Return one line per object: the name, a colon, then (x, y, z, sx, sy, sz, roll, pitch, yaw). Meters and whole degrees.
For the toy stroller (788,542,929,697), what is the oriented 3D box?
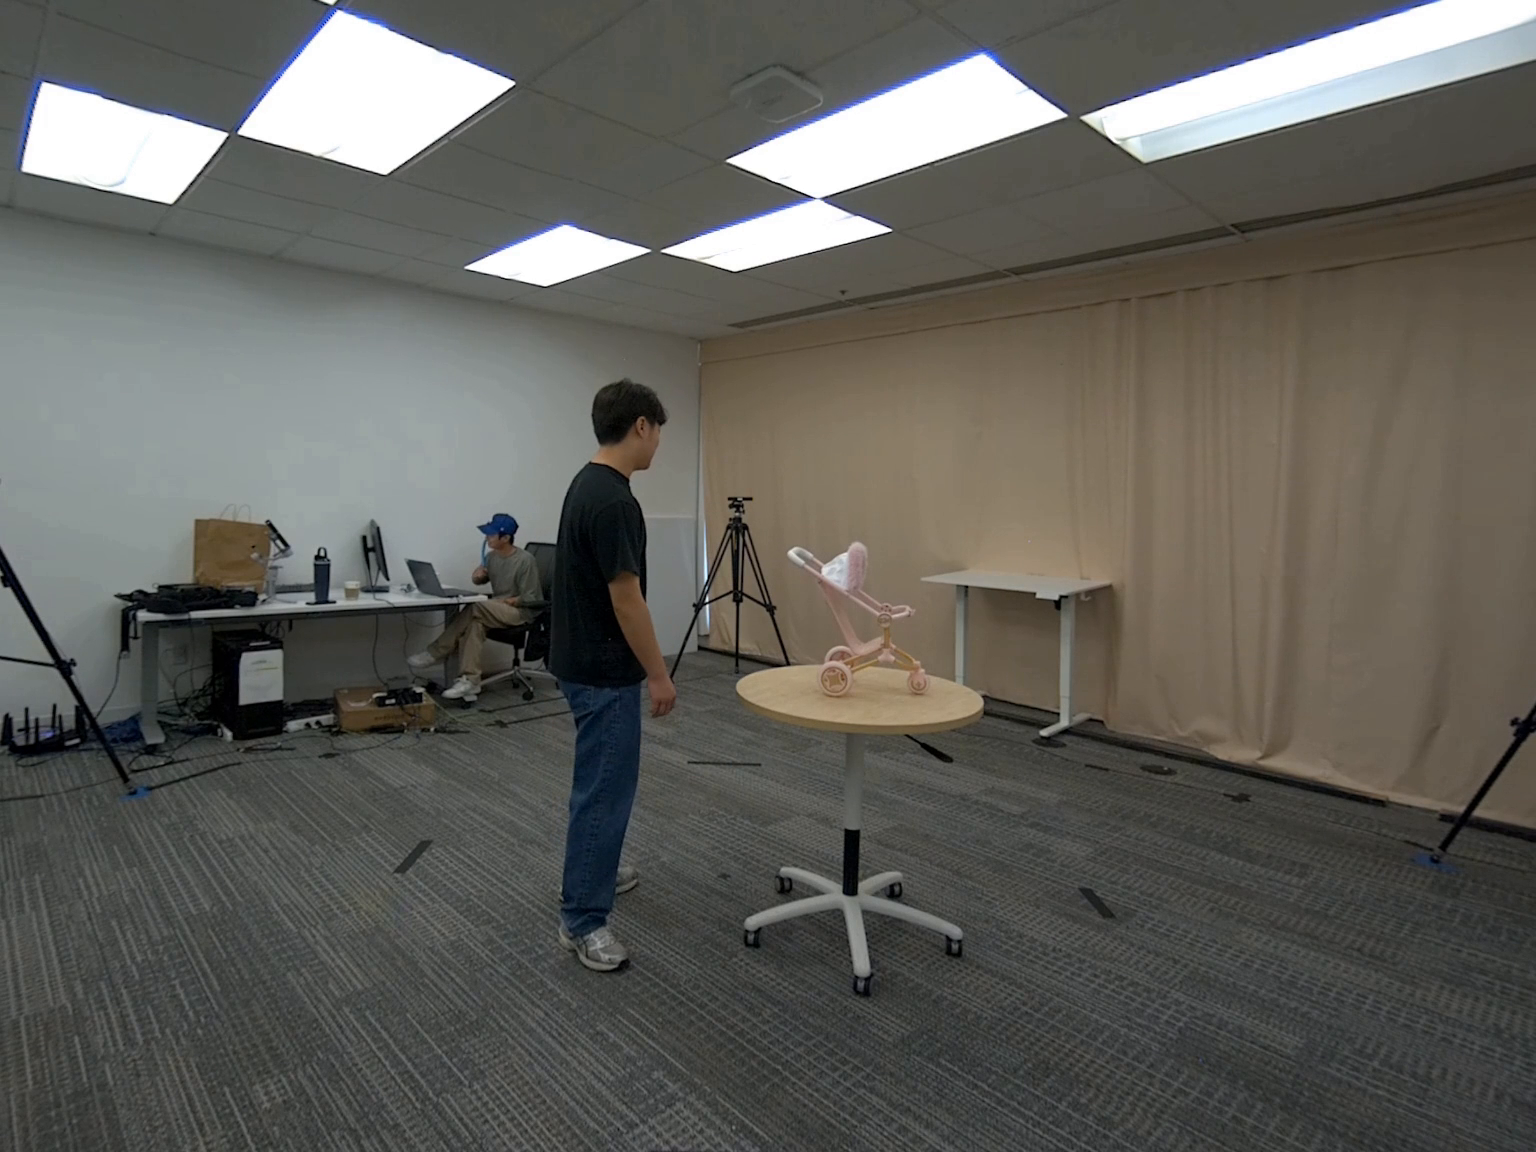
toy stroller: (0.289, 0.138, 2.652, 0.345, 0.535, 0.278, -13, 0, 16)
